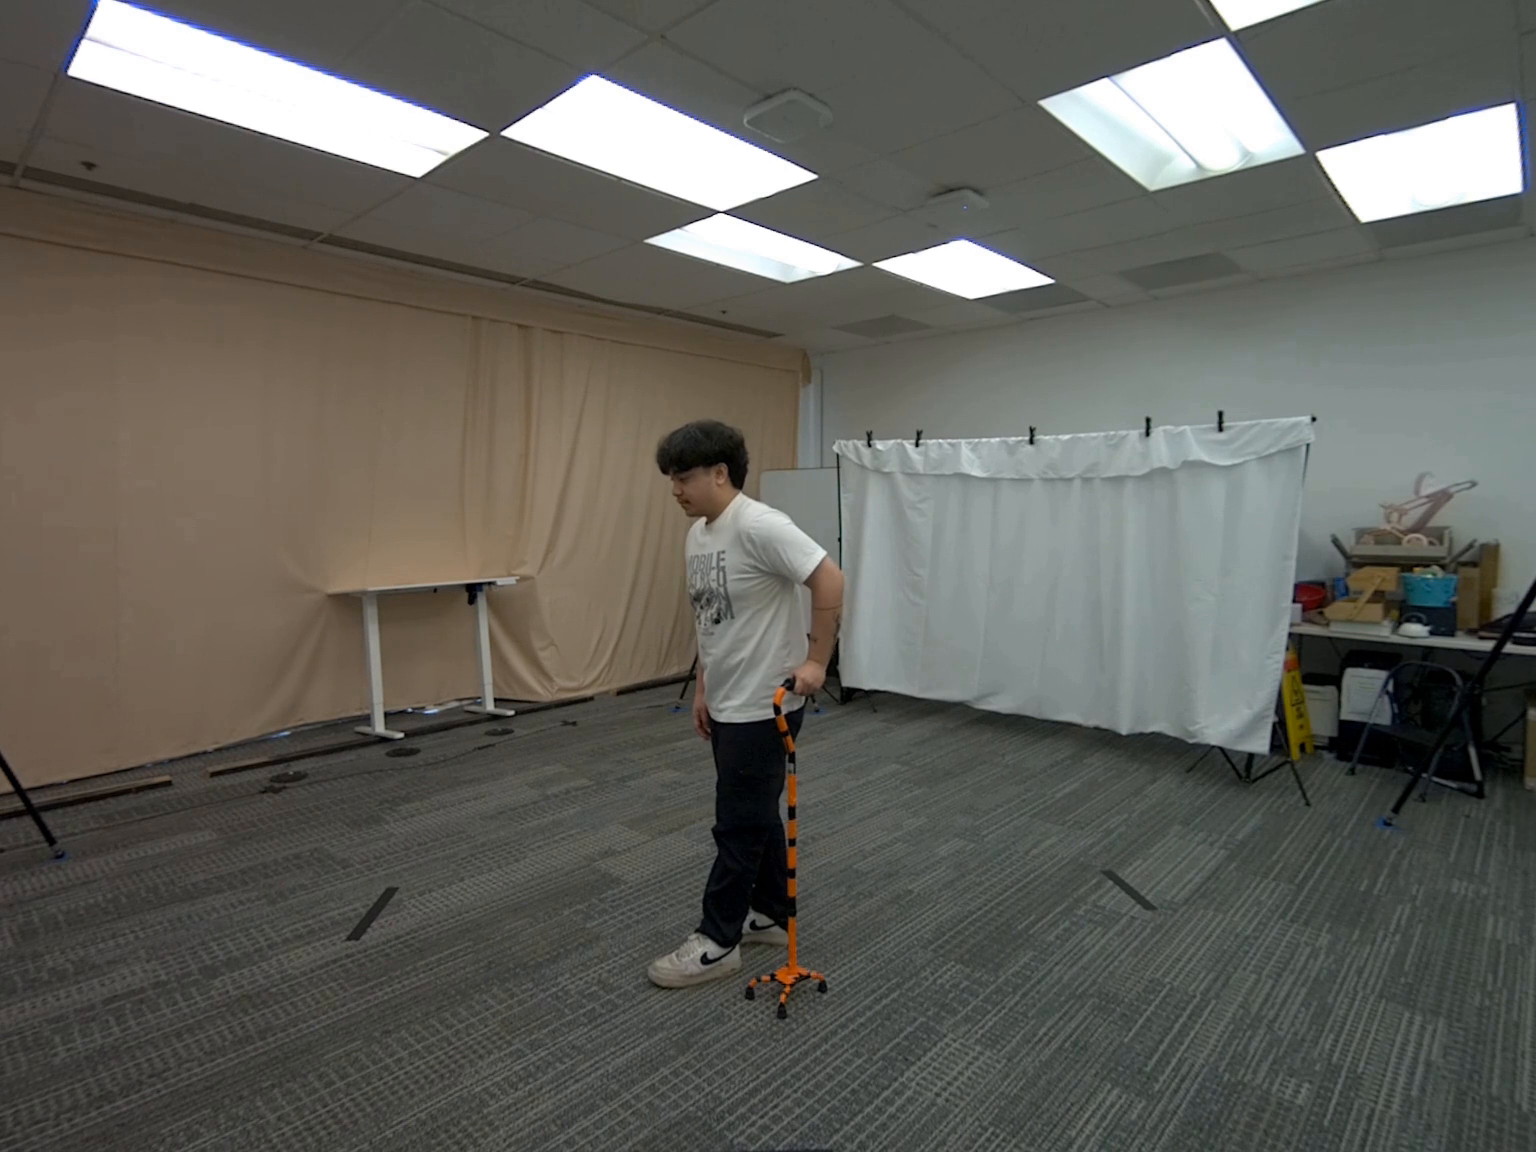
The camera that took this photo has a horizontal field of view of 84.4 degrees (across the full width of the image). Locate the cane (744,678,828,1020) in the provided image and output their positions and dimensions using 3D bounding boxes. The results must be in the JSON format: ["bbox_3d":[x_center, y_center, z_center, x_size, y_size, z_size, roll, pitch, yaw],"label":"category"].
[{"bbox_3d":[0.058,0.742,2.372,0.200,0.906,0.157,-3,5,-44],"label":"cane"}]
